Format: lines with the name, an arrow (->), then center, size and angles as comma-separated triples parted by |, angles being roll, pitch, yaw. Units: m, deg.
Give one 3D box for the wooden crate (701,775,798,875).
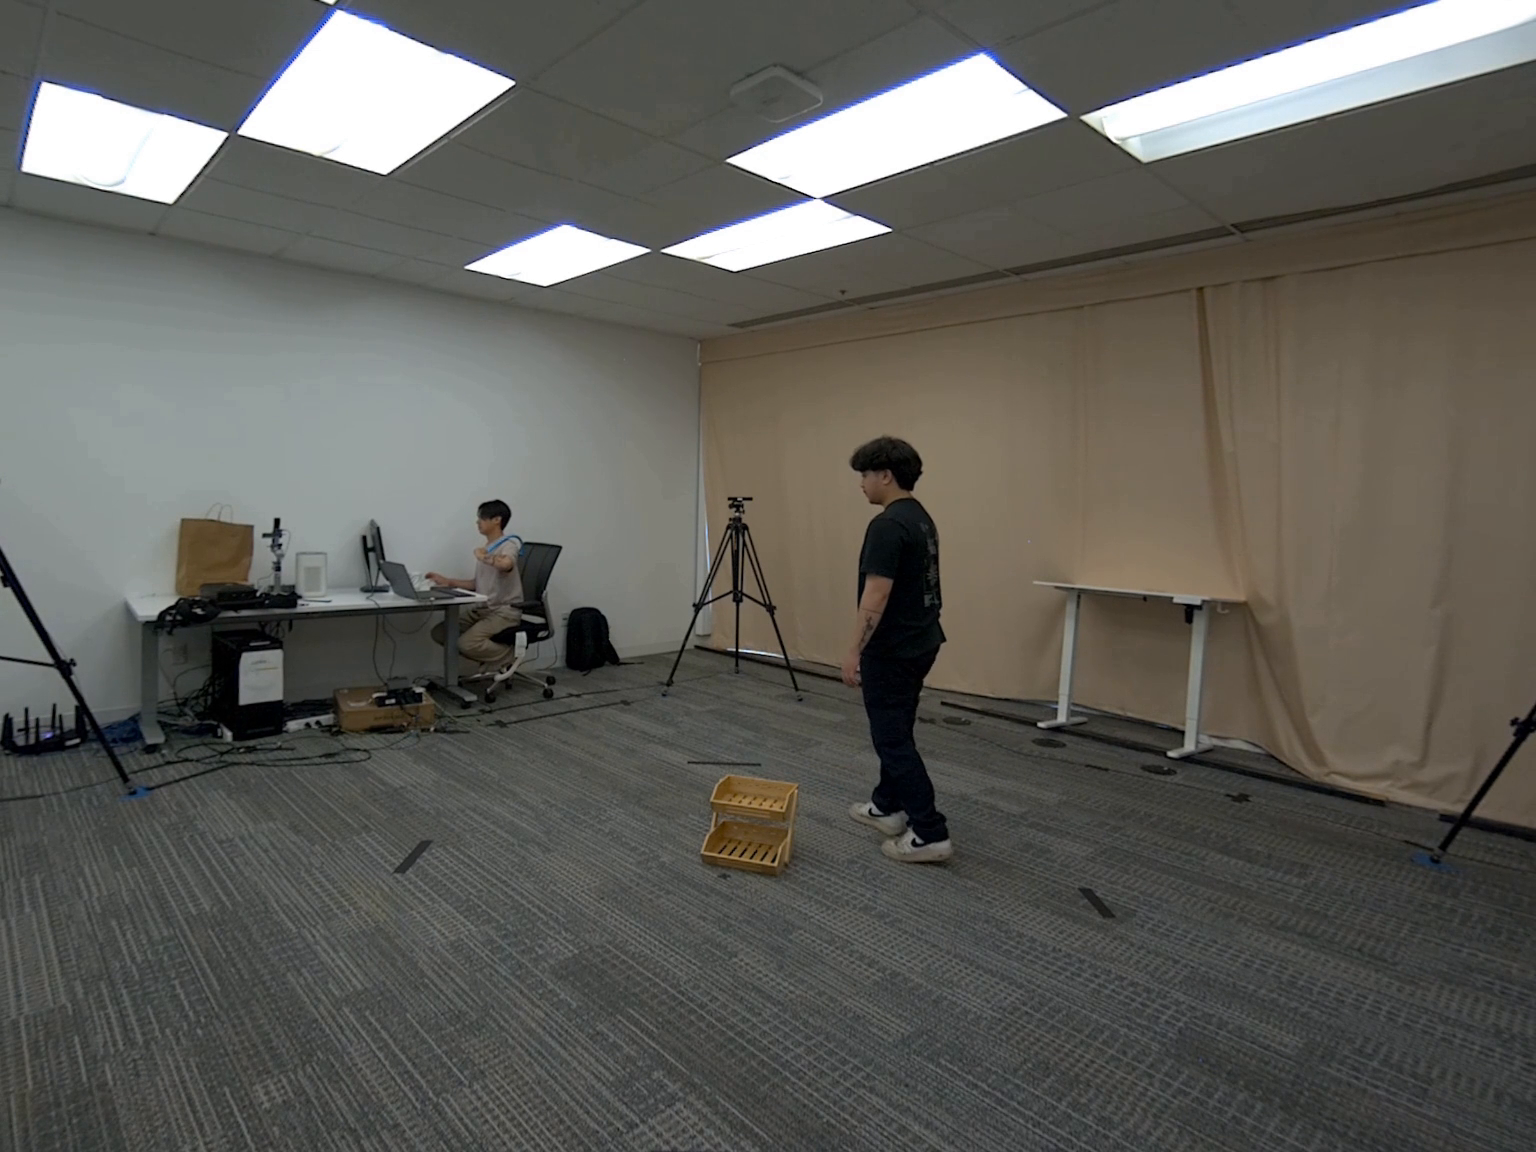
wooden crate -> -0.075, 0.960, 3.271 | 0.329, 0.273, 0.298 | 3, 4, 17
